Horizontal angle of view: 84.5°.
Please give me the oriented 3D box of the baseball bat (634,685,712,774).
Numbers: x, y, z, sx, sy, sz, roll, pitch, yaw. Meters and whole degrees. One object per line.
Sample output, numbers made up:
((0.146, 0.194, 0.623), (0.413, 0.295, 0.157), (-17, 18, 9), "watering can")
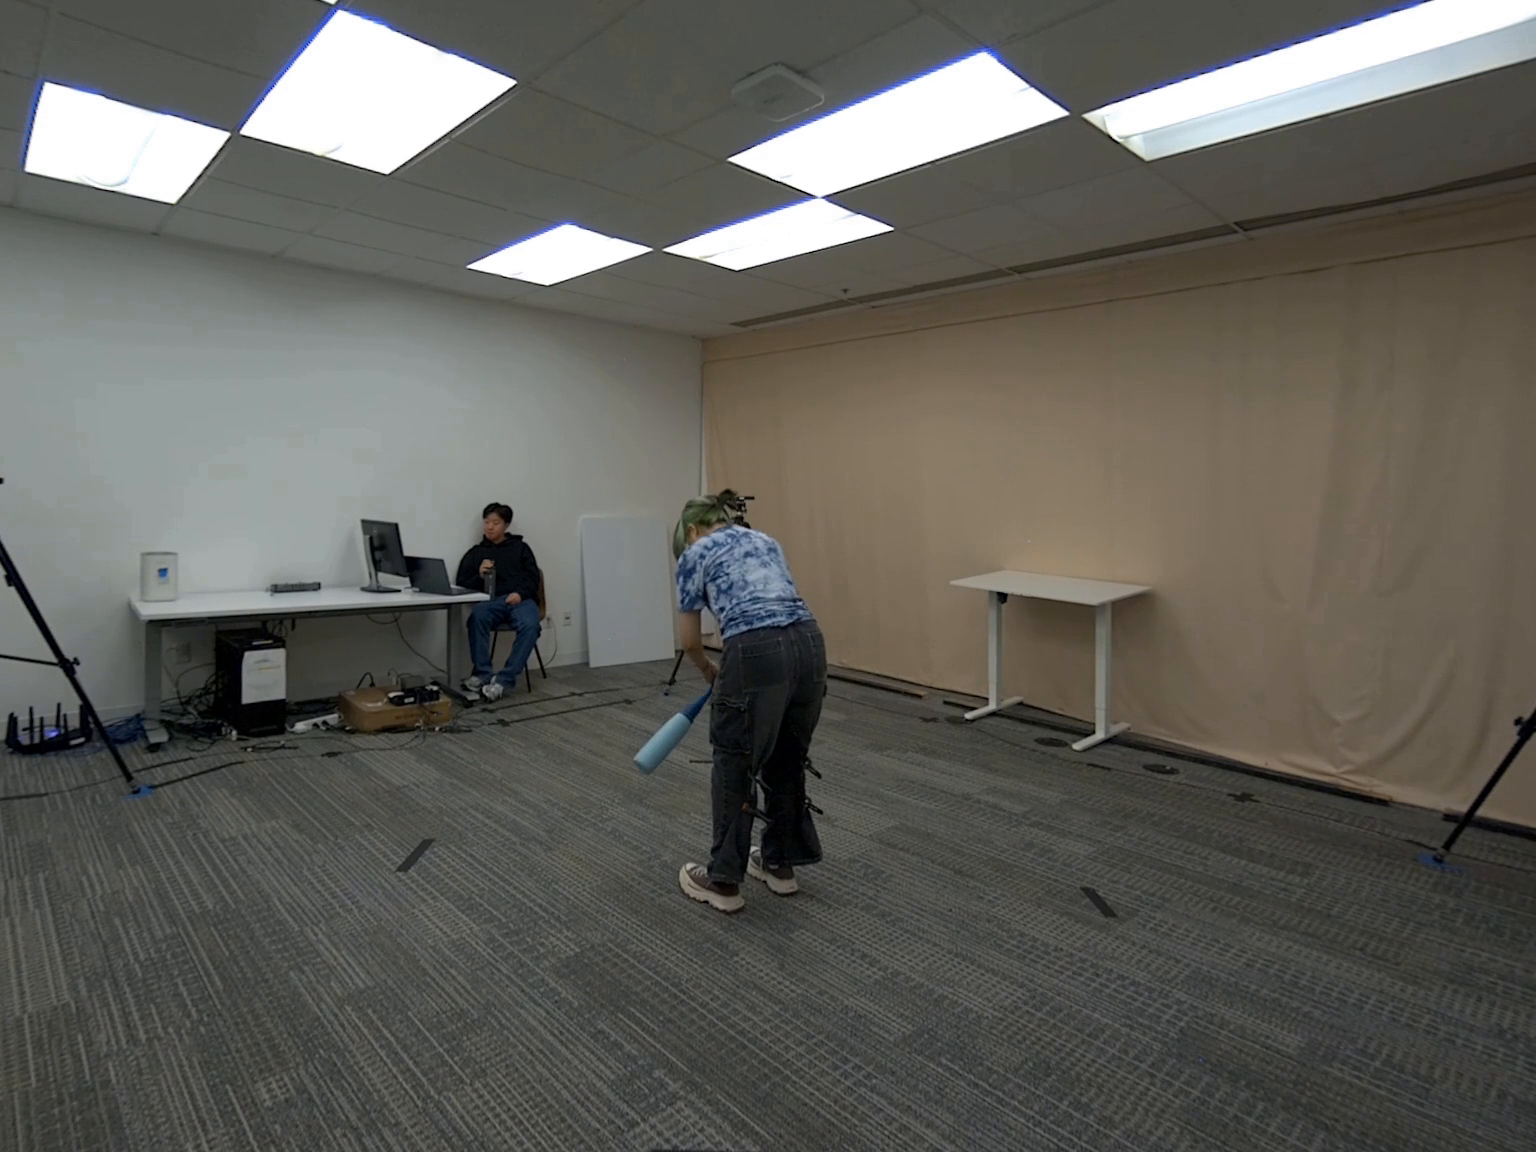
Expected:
((-0.303, 0.529, 3.192), (0.091, 0.087, 0.542), (6, 45, 51), "baseball bat")
